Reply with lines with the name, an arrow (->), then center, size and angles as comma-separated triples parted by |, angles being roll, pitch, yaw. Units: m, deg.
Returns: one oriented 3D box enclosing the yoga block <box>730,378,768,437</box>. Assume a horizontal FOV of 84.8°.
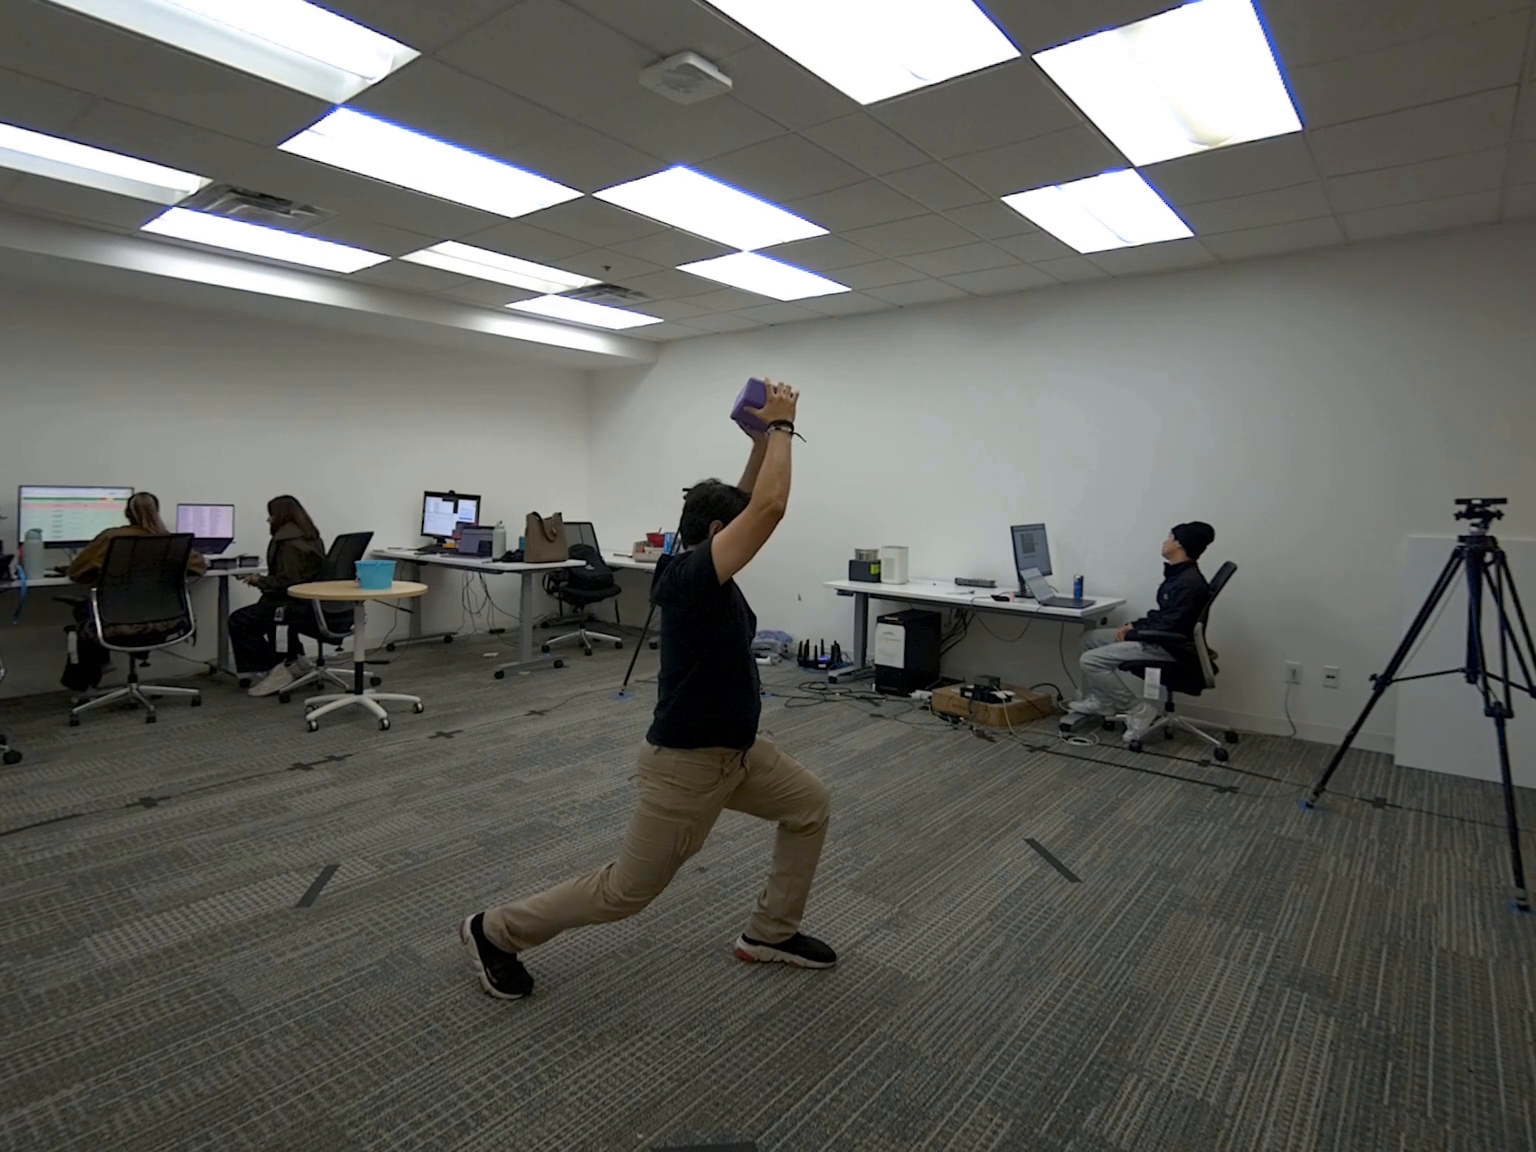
yoga block -> -0.032, -0.500, 2.469 | 0.147, 0.077, 0.230 | 20, -8, -9
